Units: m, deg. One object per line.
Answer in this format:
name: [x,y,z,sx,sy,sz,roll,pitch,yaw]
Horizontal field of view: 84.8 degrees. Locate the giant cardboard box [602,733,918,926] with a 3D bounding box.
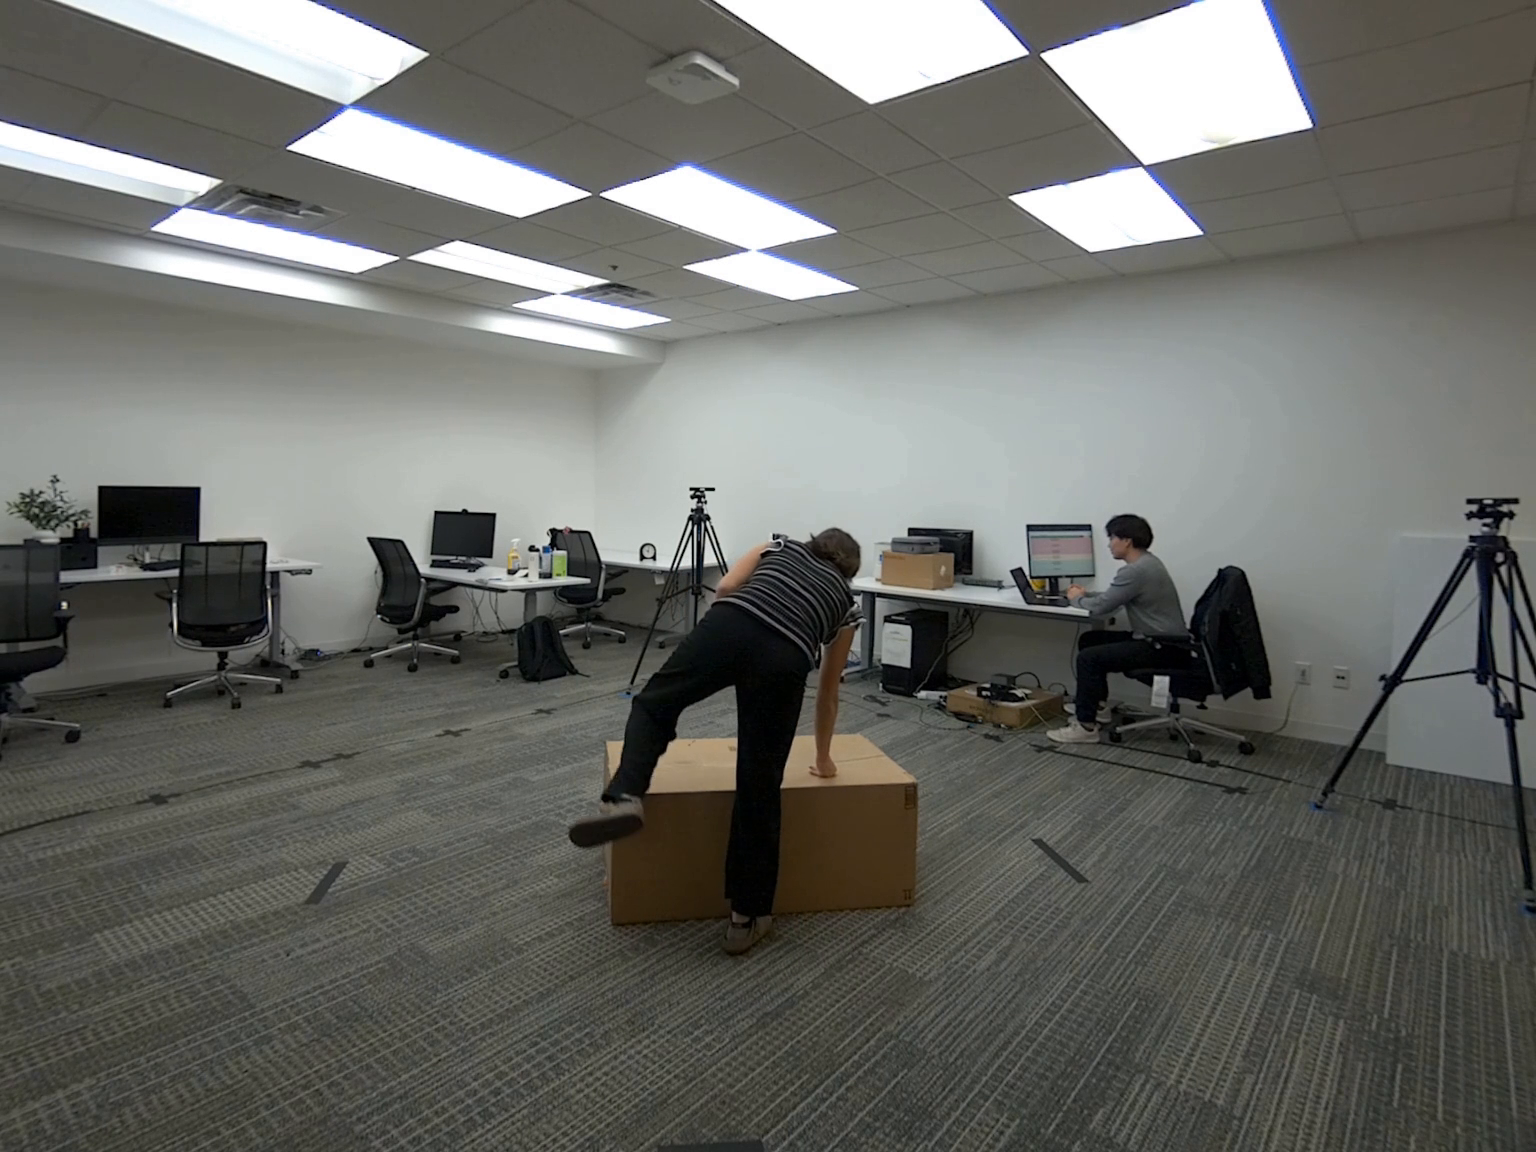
giant cardboard box: [-0.067,0.867,3.046,1.014,0.425,0.586,0,5,-11]
